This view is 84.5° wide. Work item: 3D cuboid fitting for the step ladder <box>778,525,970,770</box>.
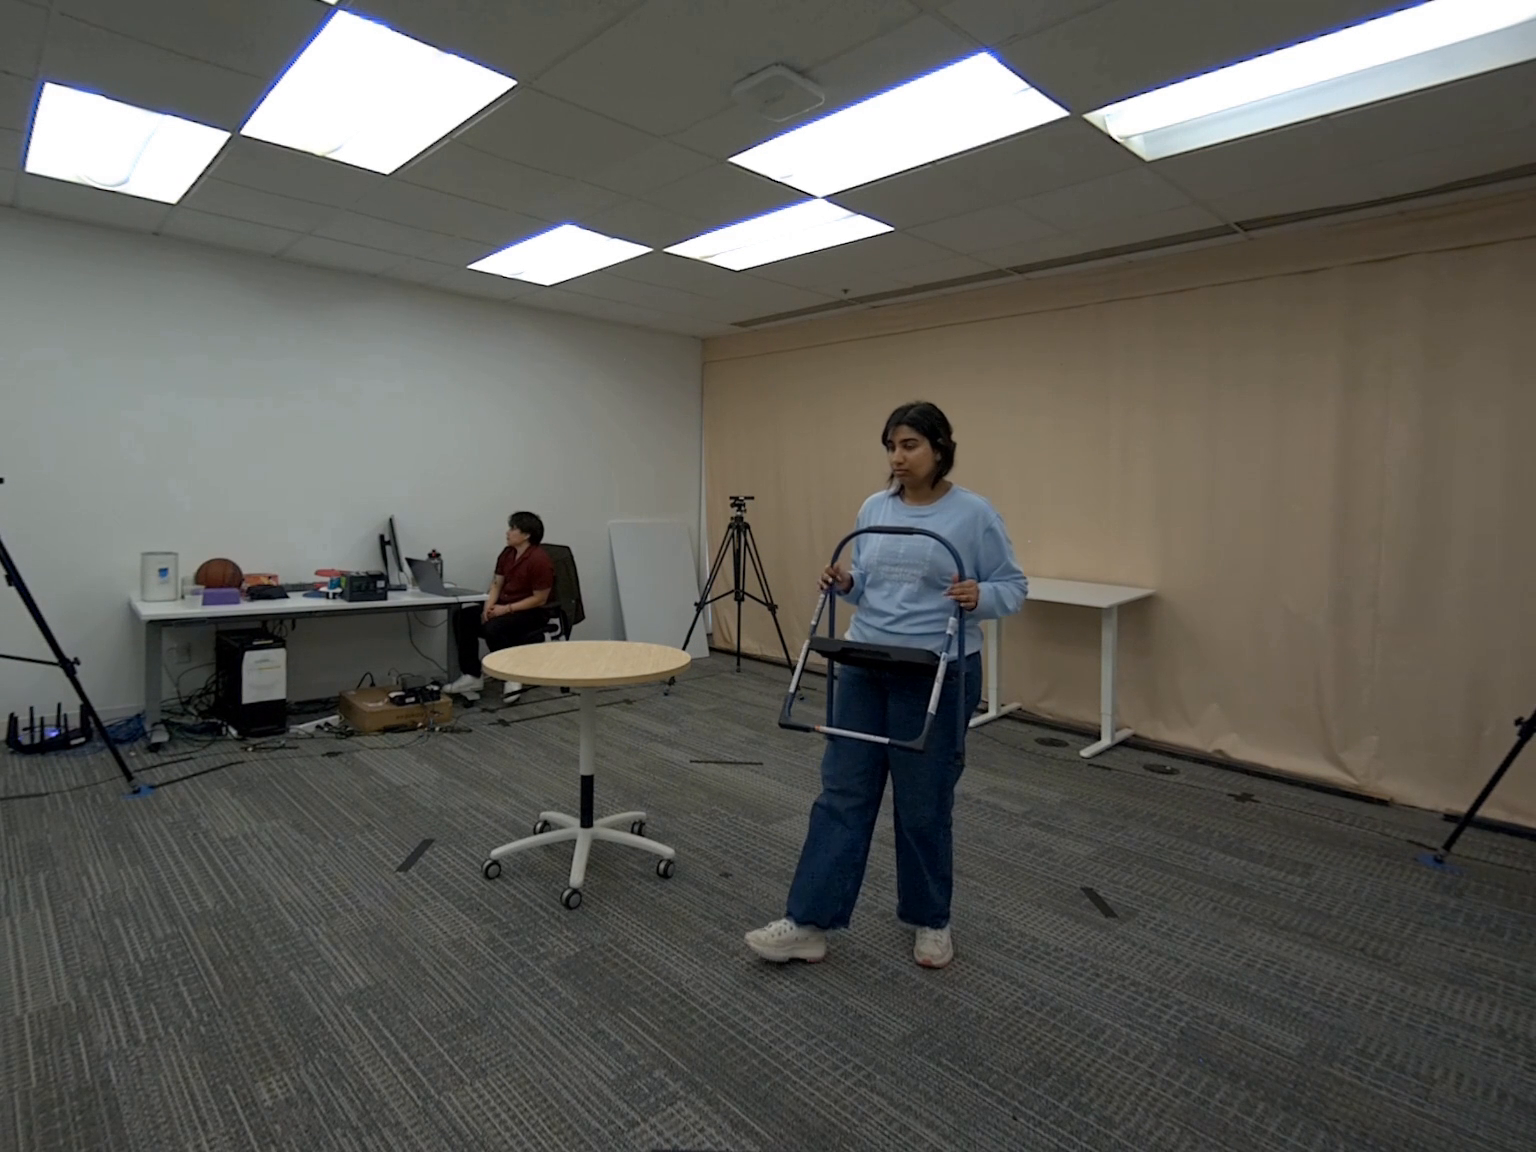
[{"bbox_3d":[0.331,0.179,2.353,0.440,0.610,0.339,3,-14,31],"label":"step ladder"}]
